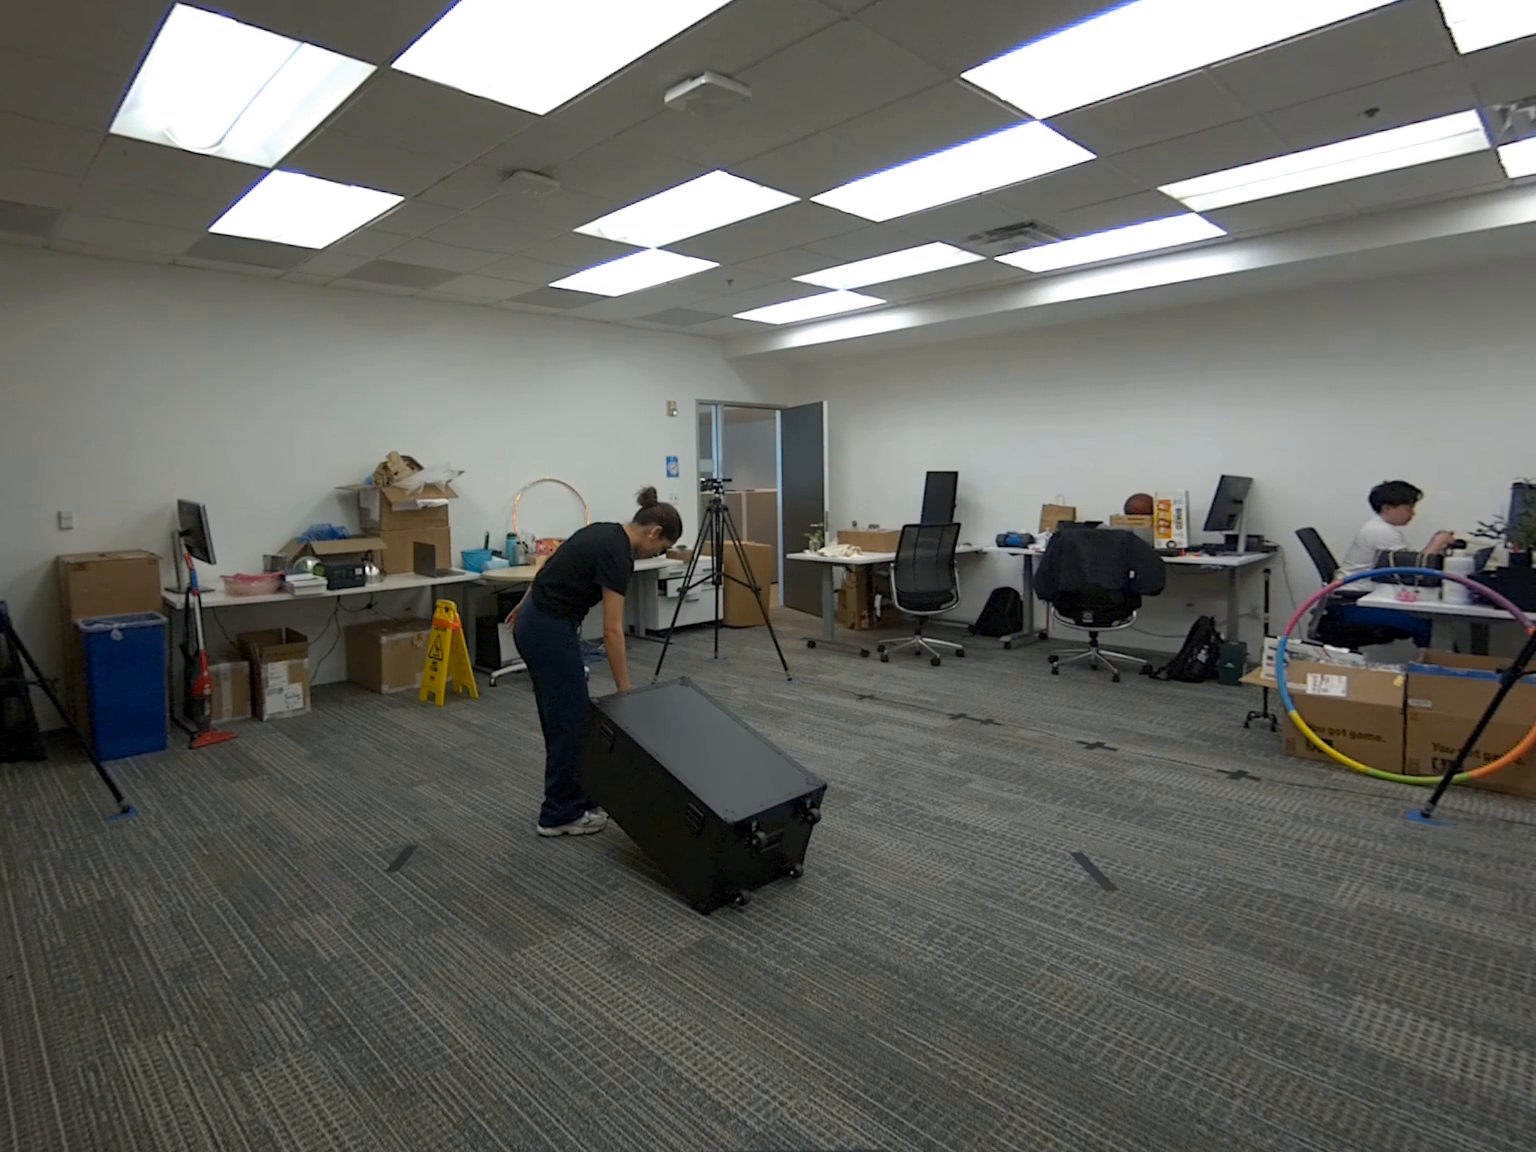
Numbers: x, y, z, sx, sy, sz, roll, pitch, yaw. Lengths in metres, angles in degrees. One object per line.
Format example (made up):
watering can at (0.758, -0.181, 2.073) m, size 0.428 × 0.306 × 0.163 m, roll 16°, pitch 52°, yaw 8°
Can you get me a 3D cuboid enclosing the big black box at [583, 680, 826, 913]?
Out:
big black box at (-0.236, 0.754, 3.092) m, size 0.507 × 0.392 × 0.895 m, roll -5°, pitch 27°, yaw -46°
